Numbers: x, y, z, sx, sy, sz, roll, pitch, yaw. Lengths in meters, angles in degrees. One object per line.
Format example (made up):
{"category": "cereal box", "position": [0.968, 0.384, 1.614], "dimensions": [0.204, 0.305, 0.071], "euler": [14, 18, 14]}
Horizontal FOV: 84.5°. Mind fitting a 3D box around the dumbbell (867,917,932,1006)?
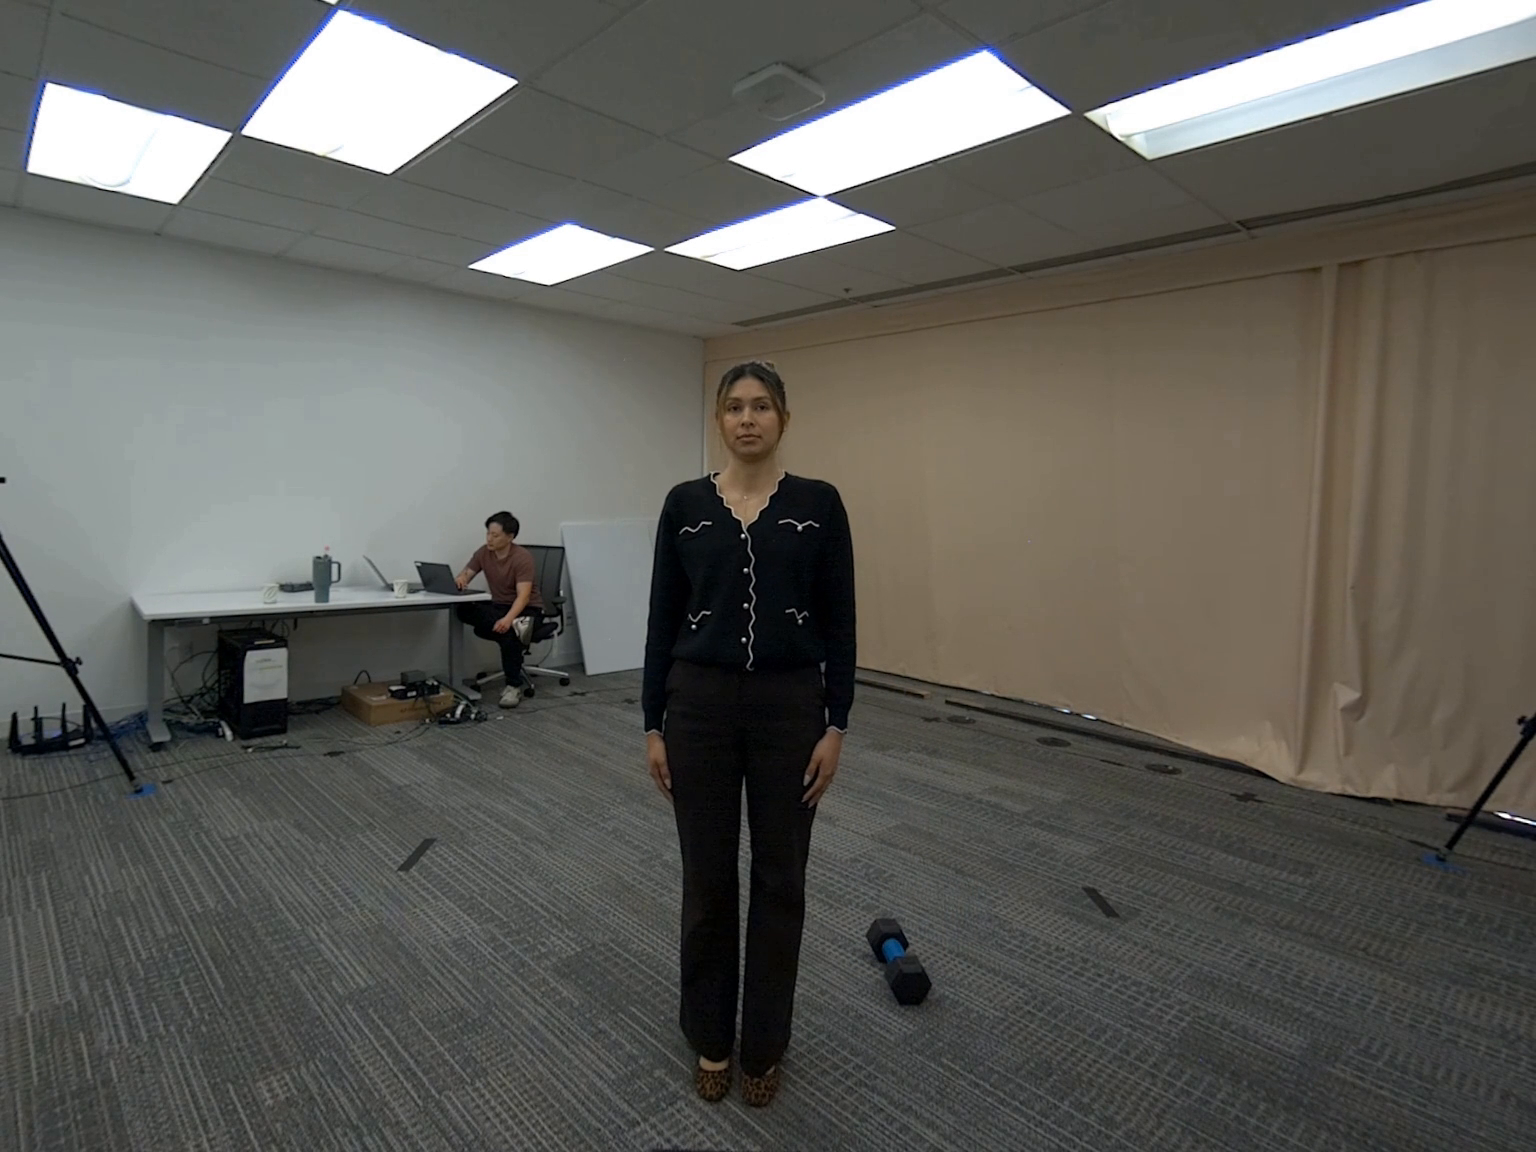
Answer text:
{"category": "dumbbell", "position": [0.369, 1.122, 2.460], "dimensions": [0.108, 0.123, 0.296], "euler": [29, 1, -8]}
